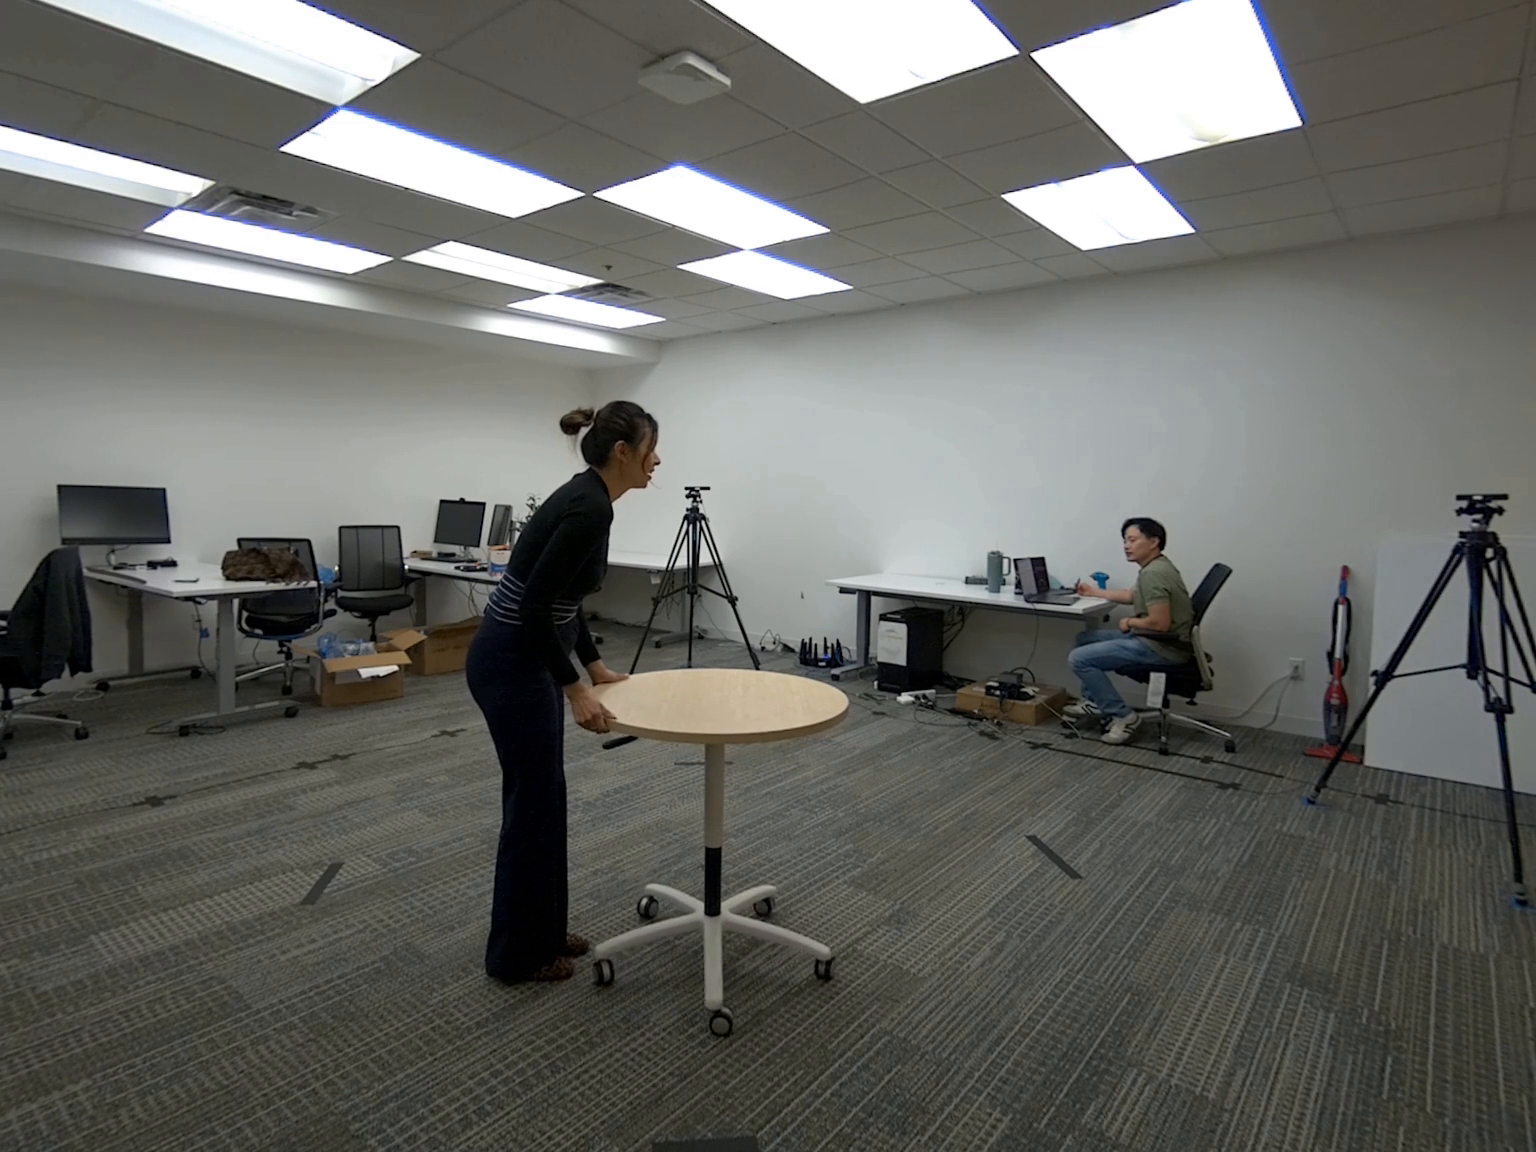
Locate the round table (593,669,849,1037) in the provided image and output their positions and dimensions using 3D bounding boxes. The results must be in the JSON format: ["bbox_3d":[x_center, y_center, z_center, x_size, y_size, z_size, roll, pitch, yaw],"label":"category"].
[{"bbox_3d":[-0.160,0.742,2.480,0.763,0.791,0.768,0,4,-2],"label":"round table"}]
